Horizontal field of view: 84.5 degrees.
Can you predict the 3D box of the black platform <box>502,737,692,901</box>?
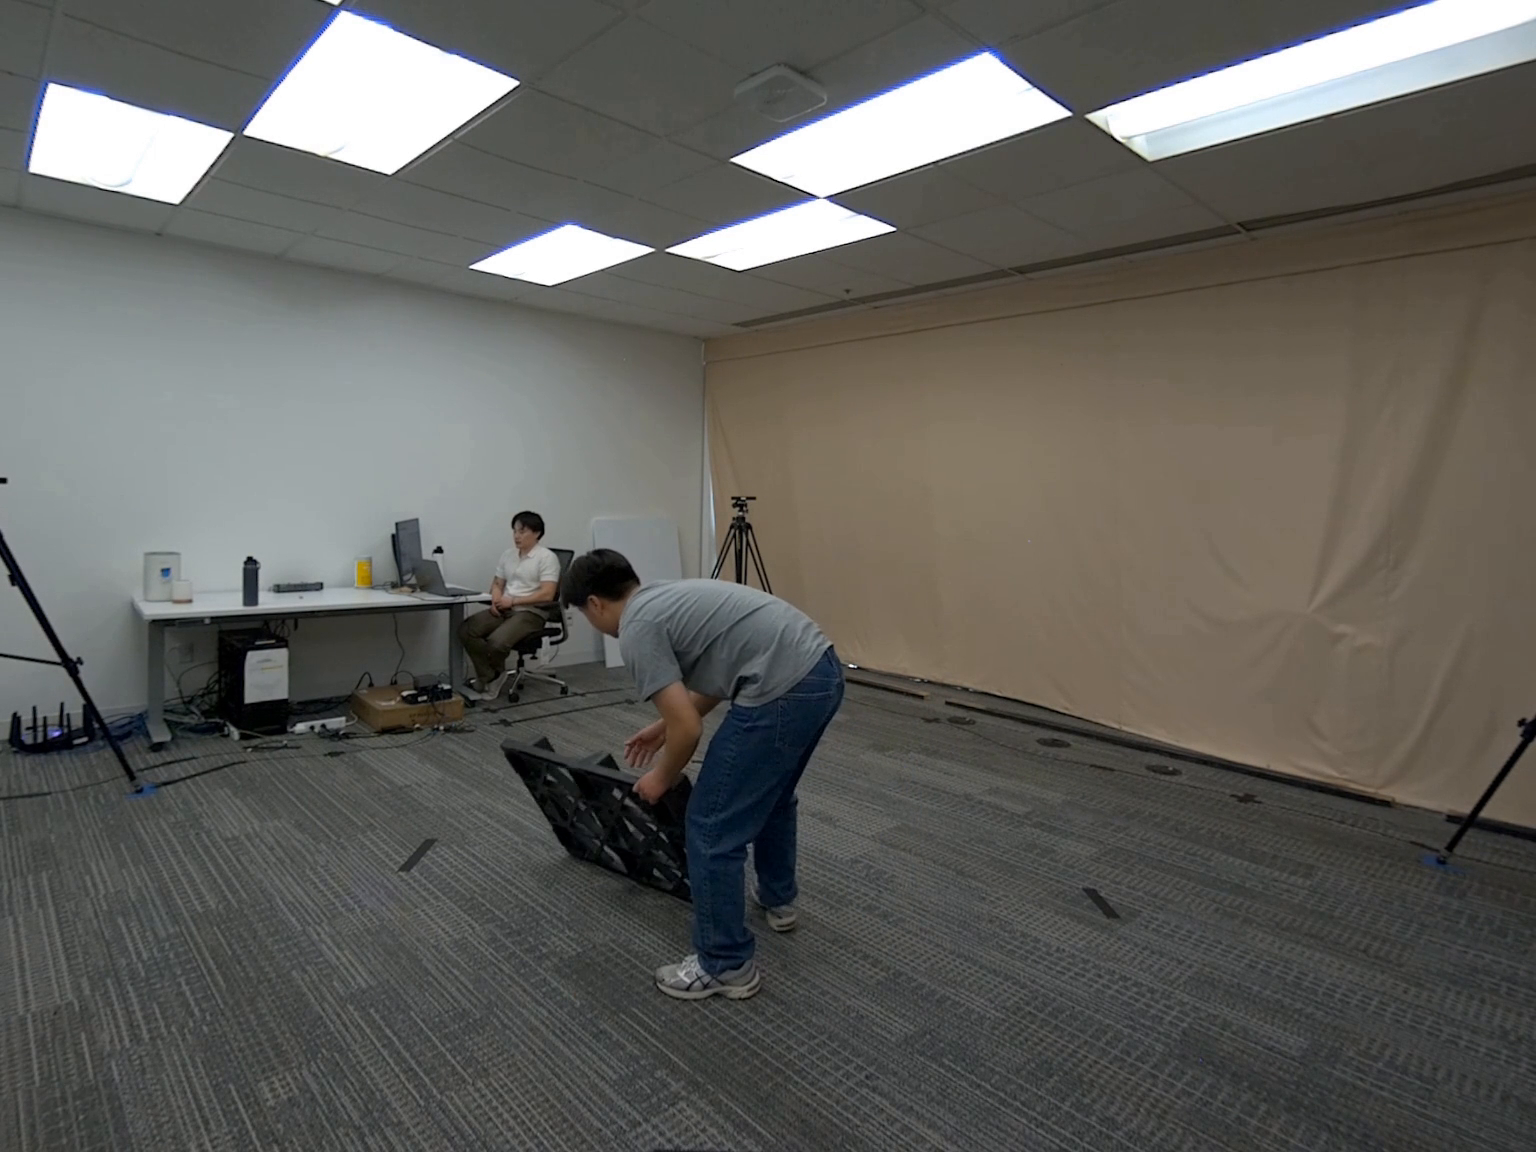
[{"bbox_3d":[-0.527,0.827,2.917,0.825,0.591,0.143,4,36,37],"label":"black platform"}]
